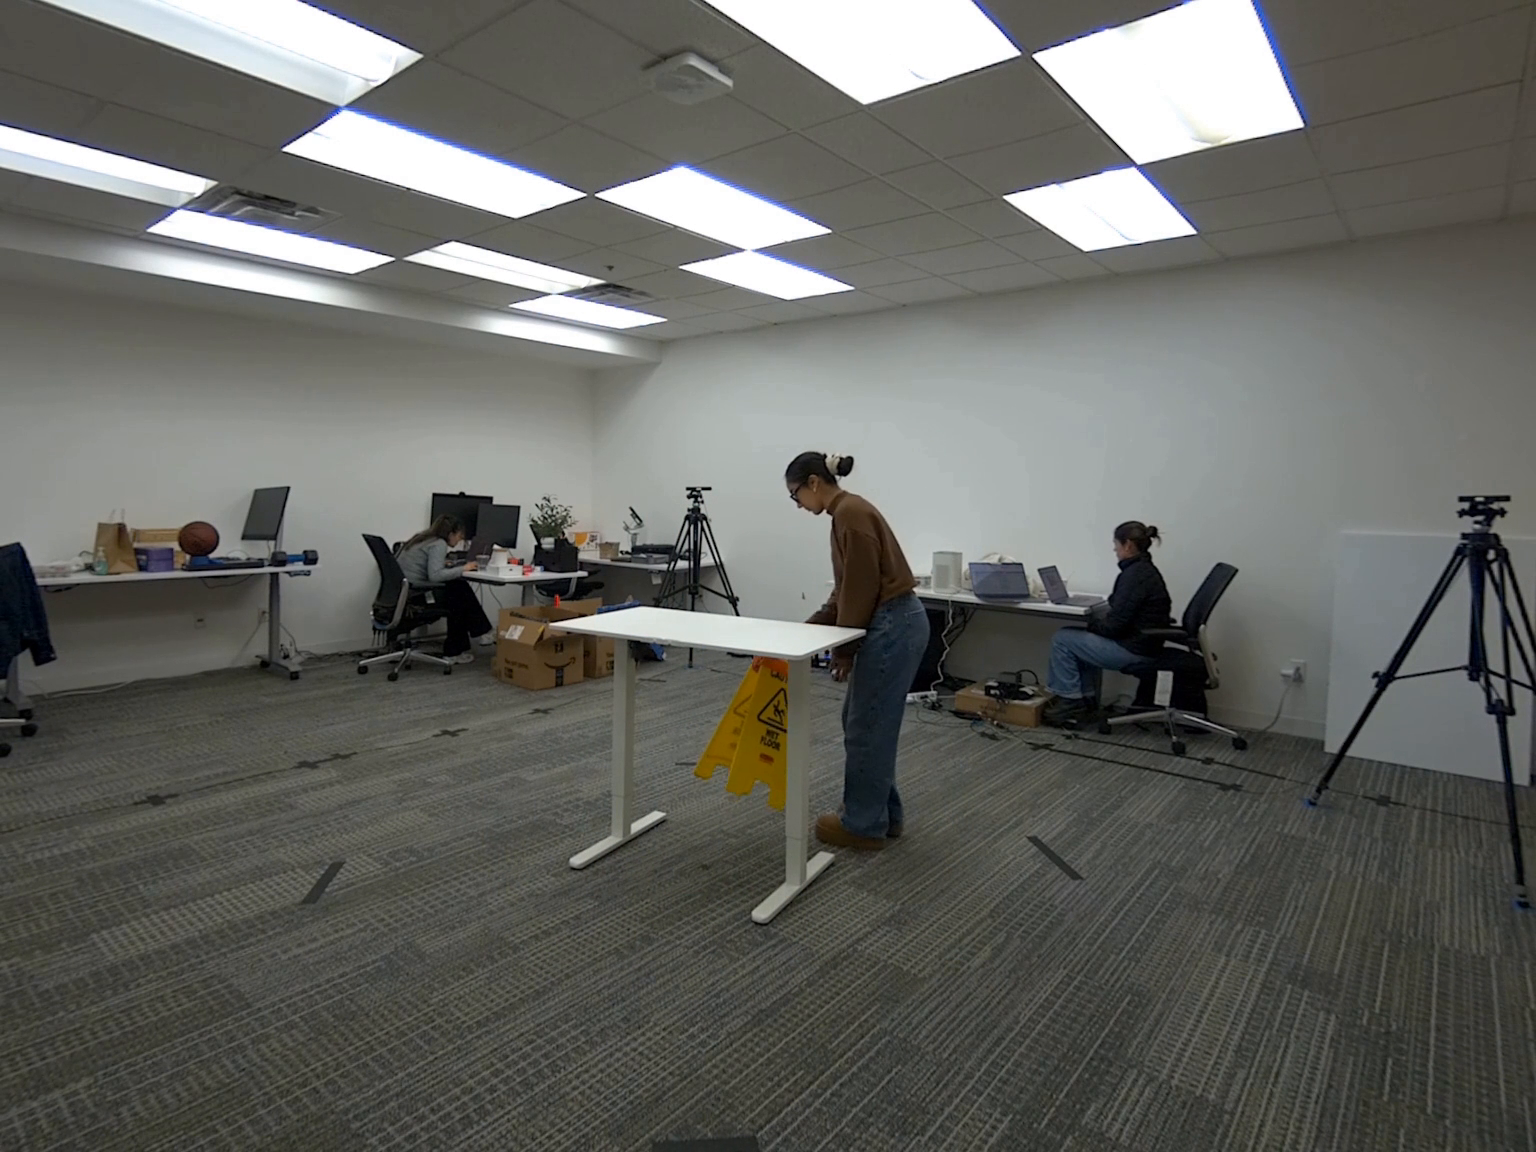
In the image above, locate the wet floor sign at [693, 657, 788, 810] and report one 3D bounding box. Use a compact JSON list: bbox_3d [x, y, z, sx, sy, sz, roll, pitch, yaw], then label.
[{"bbox_3d":[-0.021,0.541,3.376,0.272,0.650,0.298,27,-15,-30],"label":"wet floor sign"}]
